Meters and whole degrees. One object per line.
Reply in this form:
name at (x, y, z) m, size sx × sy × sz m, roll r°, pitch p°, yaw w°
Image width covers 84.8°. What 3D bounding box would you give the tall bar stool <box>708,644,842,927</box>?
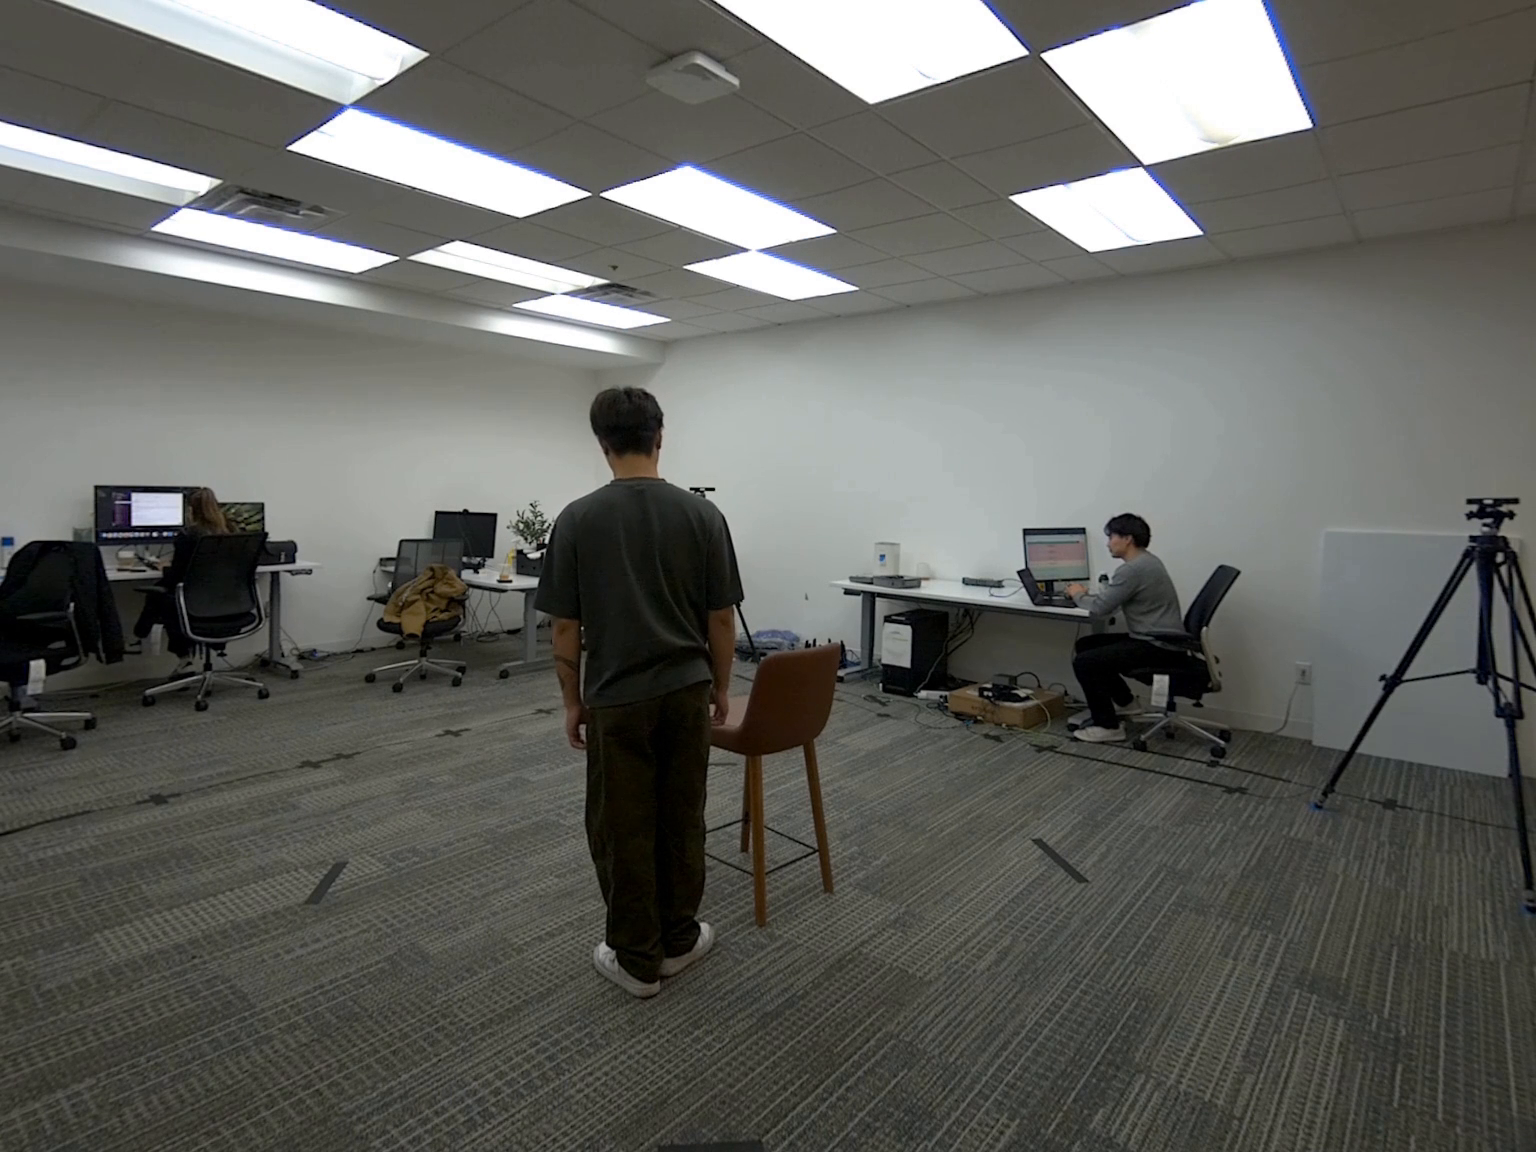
tall bar stool at (-0.052, 0.649, 2.960) m, size 0.484 × 0.886 × 0.442 m, roll 7°, pitch 6°, yaw 44°
